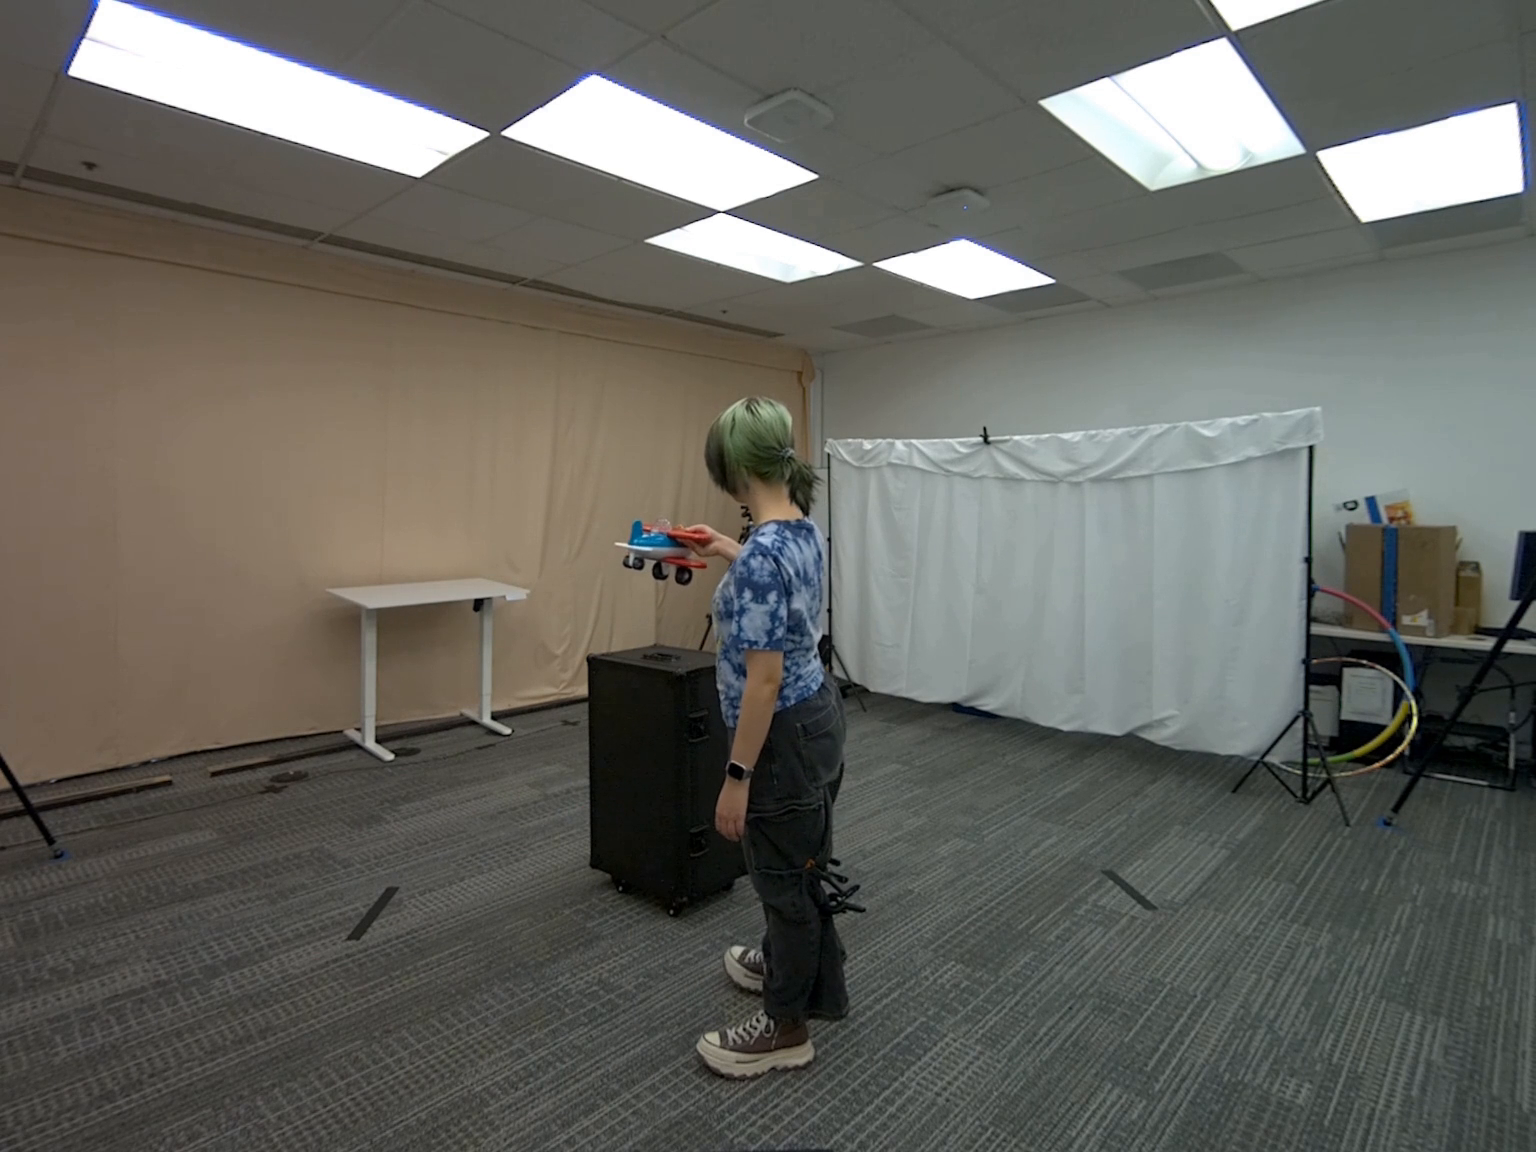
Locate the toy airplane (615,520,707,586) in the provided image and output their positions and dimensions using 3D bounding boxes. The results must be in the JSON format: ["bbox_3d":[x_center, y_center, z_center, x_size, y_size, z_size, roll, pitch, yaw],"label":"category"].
[{"bbox_3d":[-0.284,-0.070,2.338,0.253,0.157,0.256,15,-6,6],"label":"toy airplane"}]
